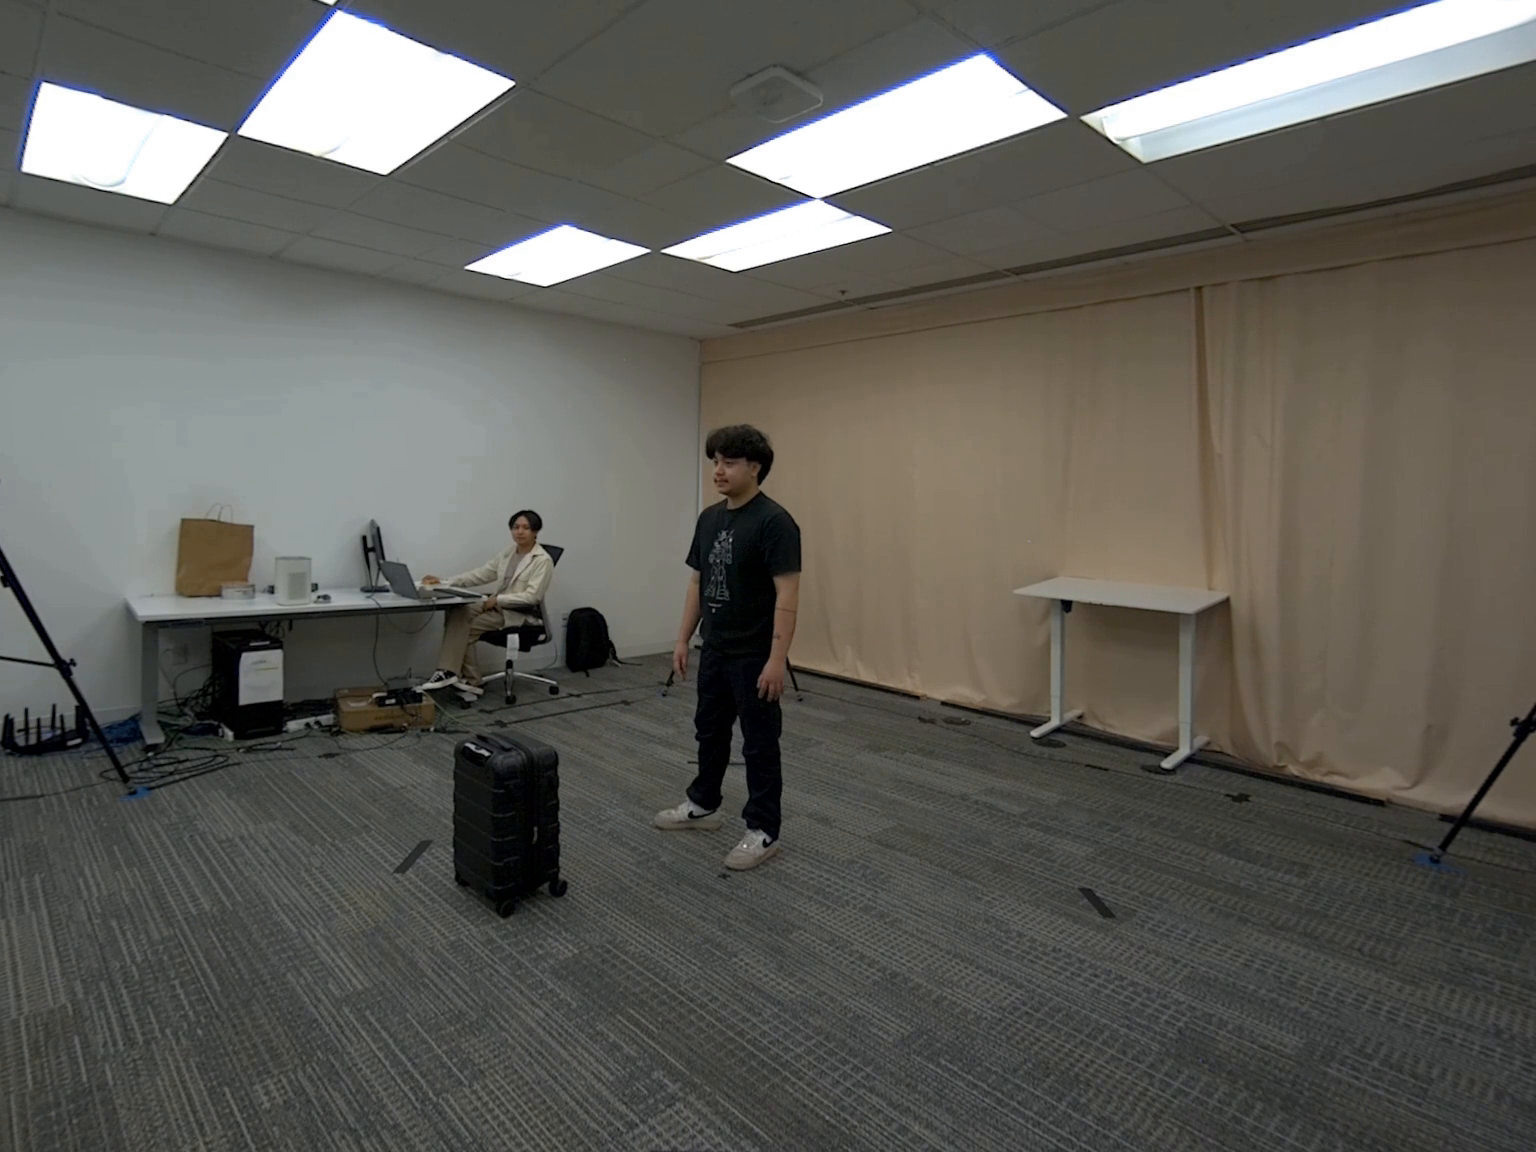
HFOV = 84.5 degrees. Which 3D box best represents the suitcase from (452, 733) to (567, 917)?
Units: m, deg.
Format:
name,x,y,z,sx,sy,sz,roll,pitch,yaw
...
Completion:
name,x,y,z,sx,sy,sz,roll,pitch,yaw
suitcase,-0.920,0.829,2.931,0.243,0.547,0.385,-3,6,-44
